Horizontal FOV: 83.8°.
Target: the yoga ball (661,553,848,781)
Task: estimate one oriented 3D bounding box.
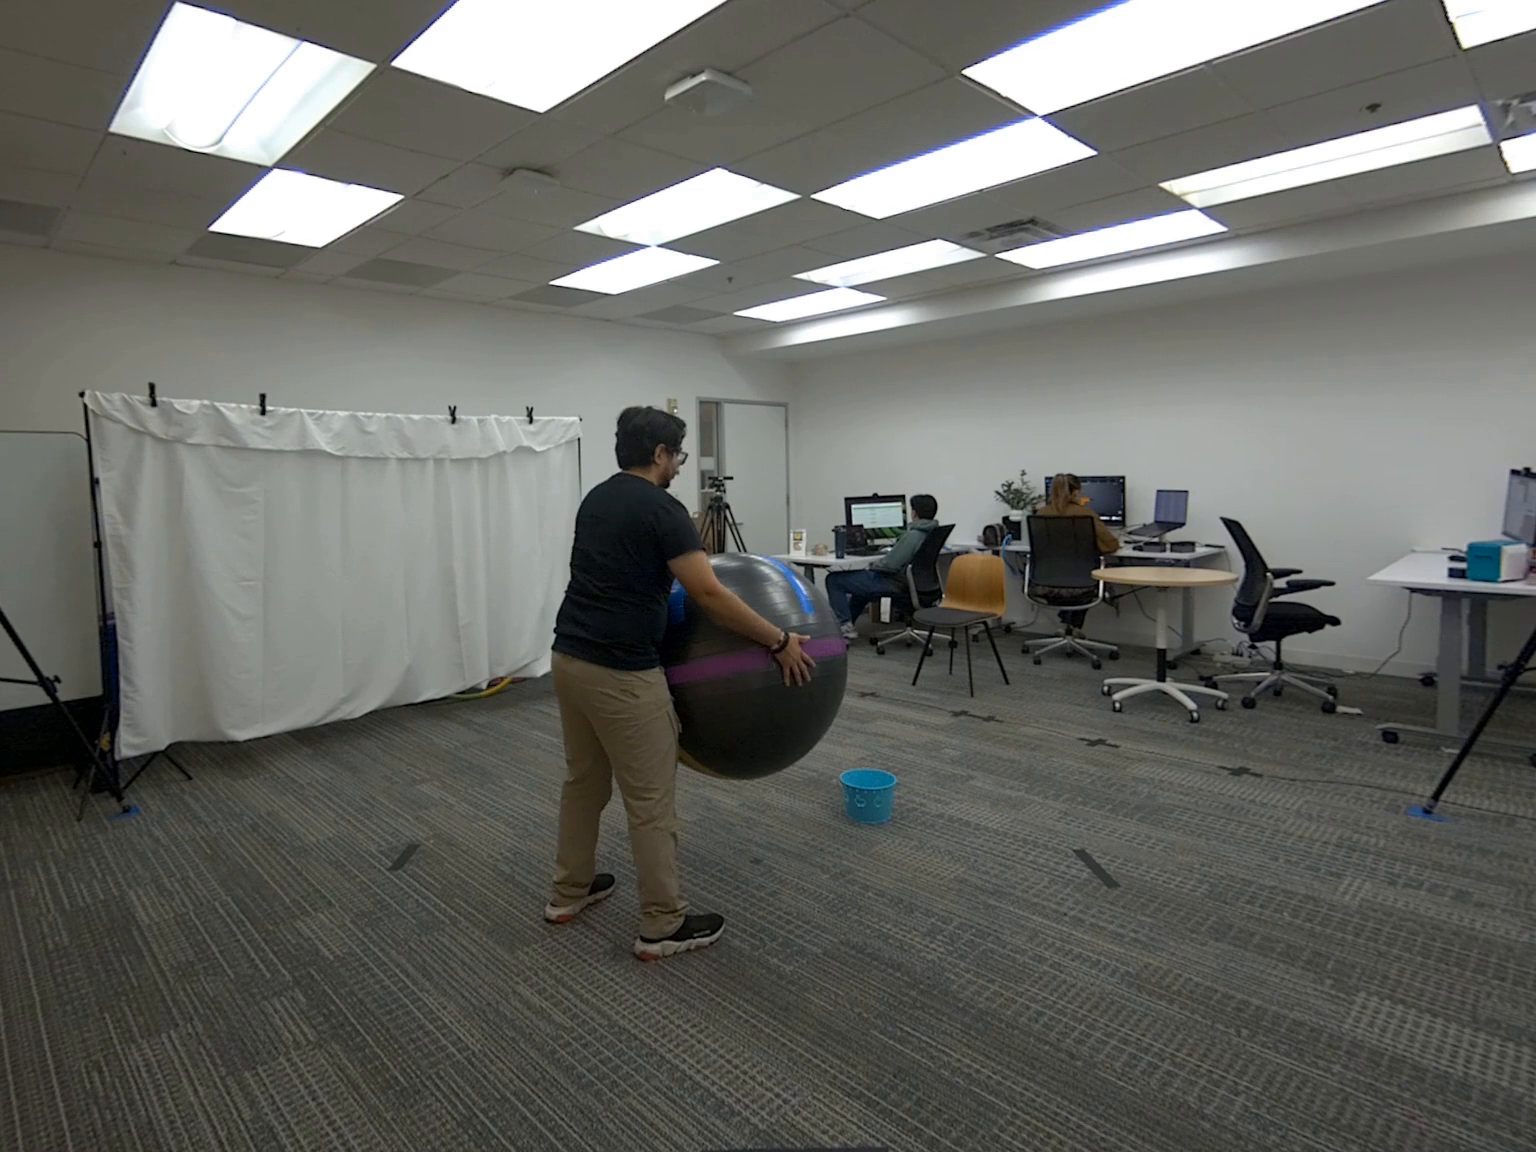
[{"bbox_3d":[-0.107,0.303,2.924,0.757,0.755,0.762,-1,5,-2],"label":"yoga ball"}]
